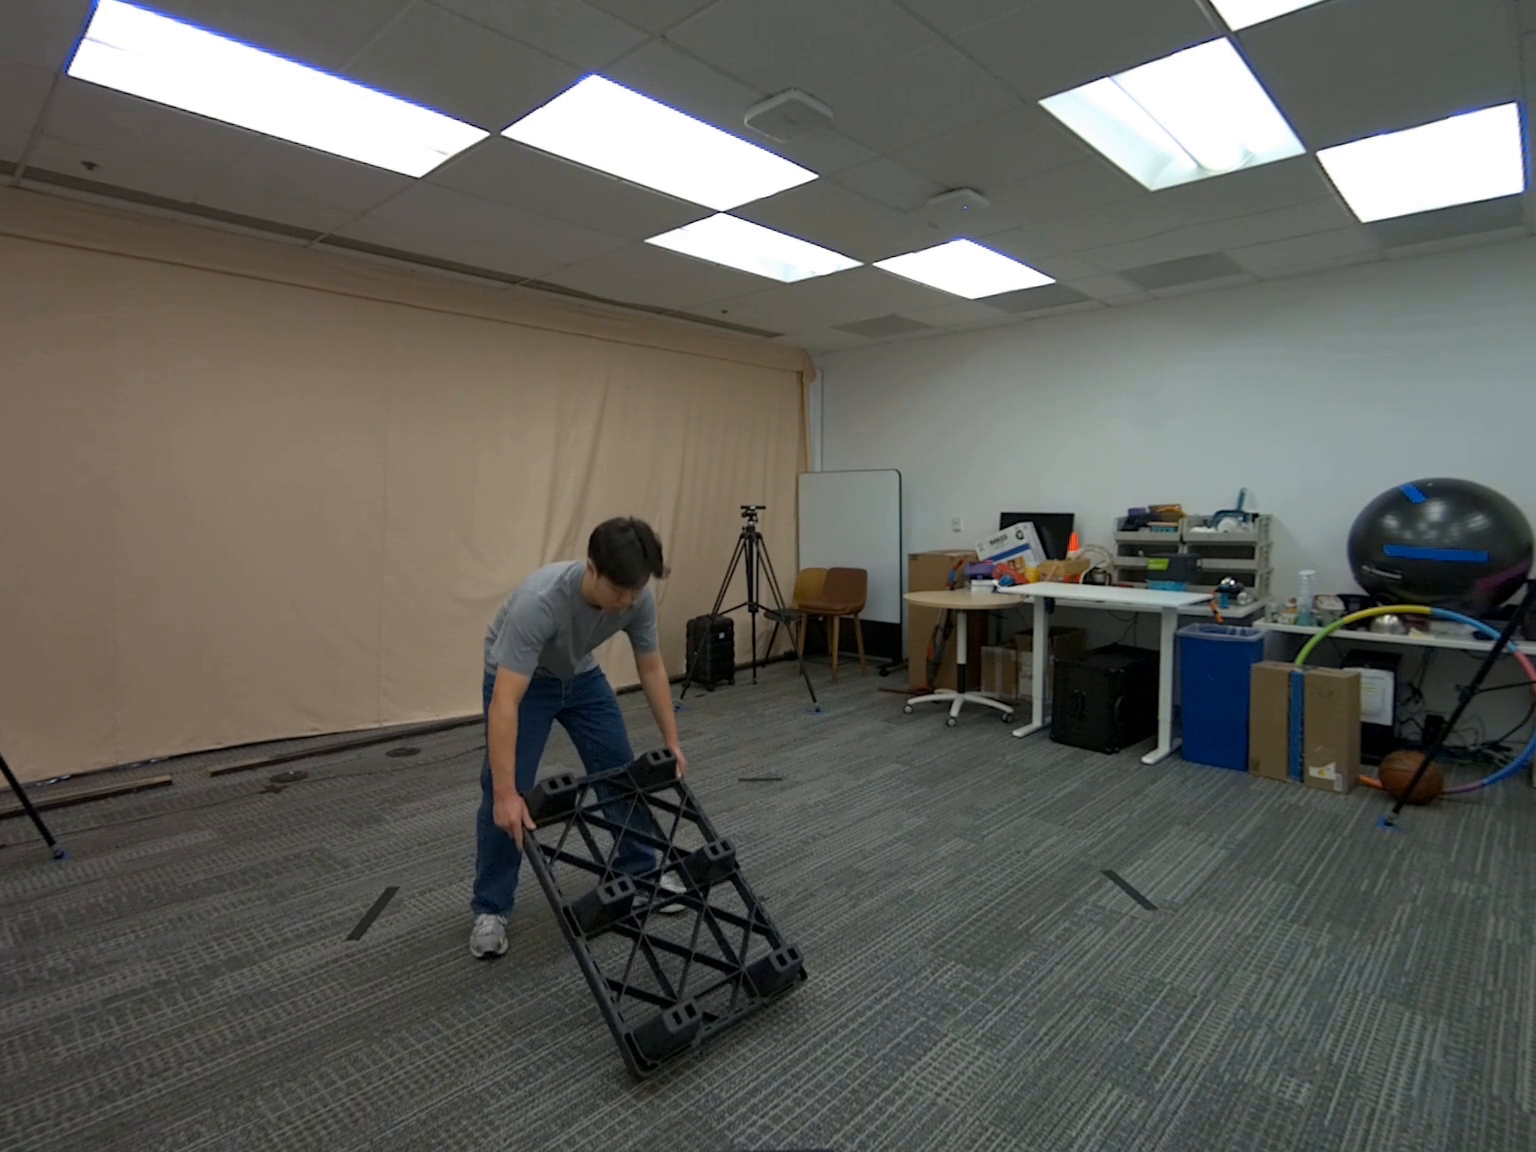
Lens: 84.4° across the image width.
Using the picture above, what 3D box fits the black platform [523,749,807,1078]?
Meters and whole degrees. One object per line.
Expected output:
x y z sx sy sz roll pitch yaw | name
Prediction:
-0.293 0.860 2.355 0.587 0.143 0.830 -6 47 -44 | black platform
